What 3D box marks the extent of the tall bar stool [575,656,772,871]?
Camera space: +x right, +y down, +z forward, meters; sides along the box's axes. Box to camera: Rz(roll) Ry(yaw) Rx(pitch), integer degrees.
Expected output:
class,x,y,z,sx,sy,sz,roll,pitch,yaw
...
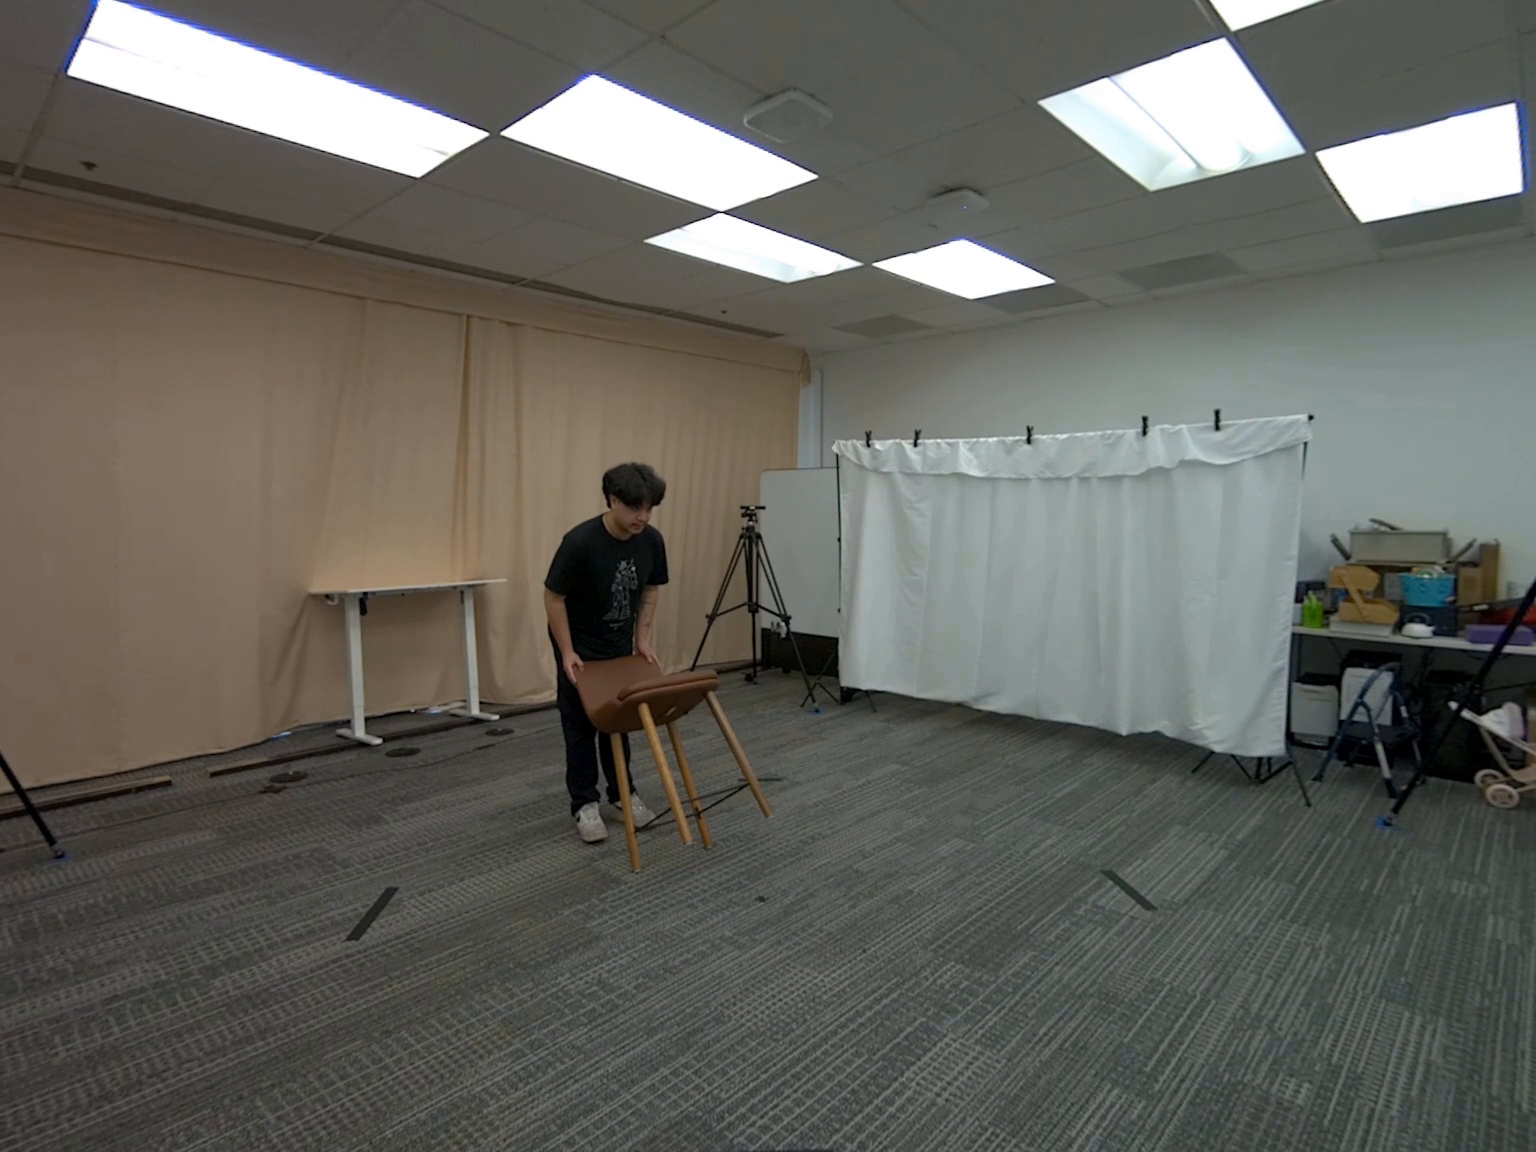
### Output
class,x,y,z,sx,sy,sz,roll,pitch,yaw
tall bar stool,-0.410,0.635,3.339,0.443,0.909,0.472,-4,-29,-39
